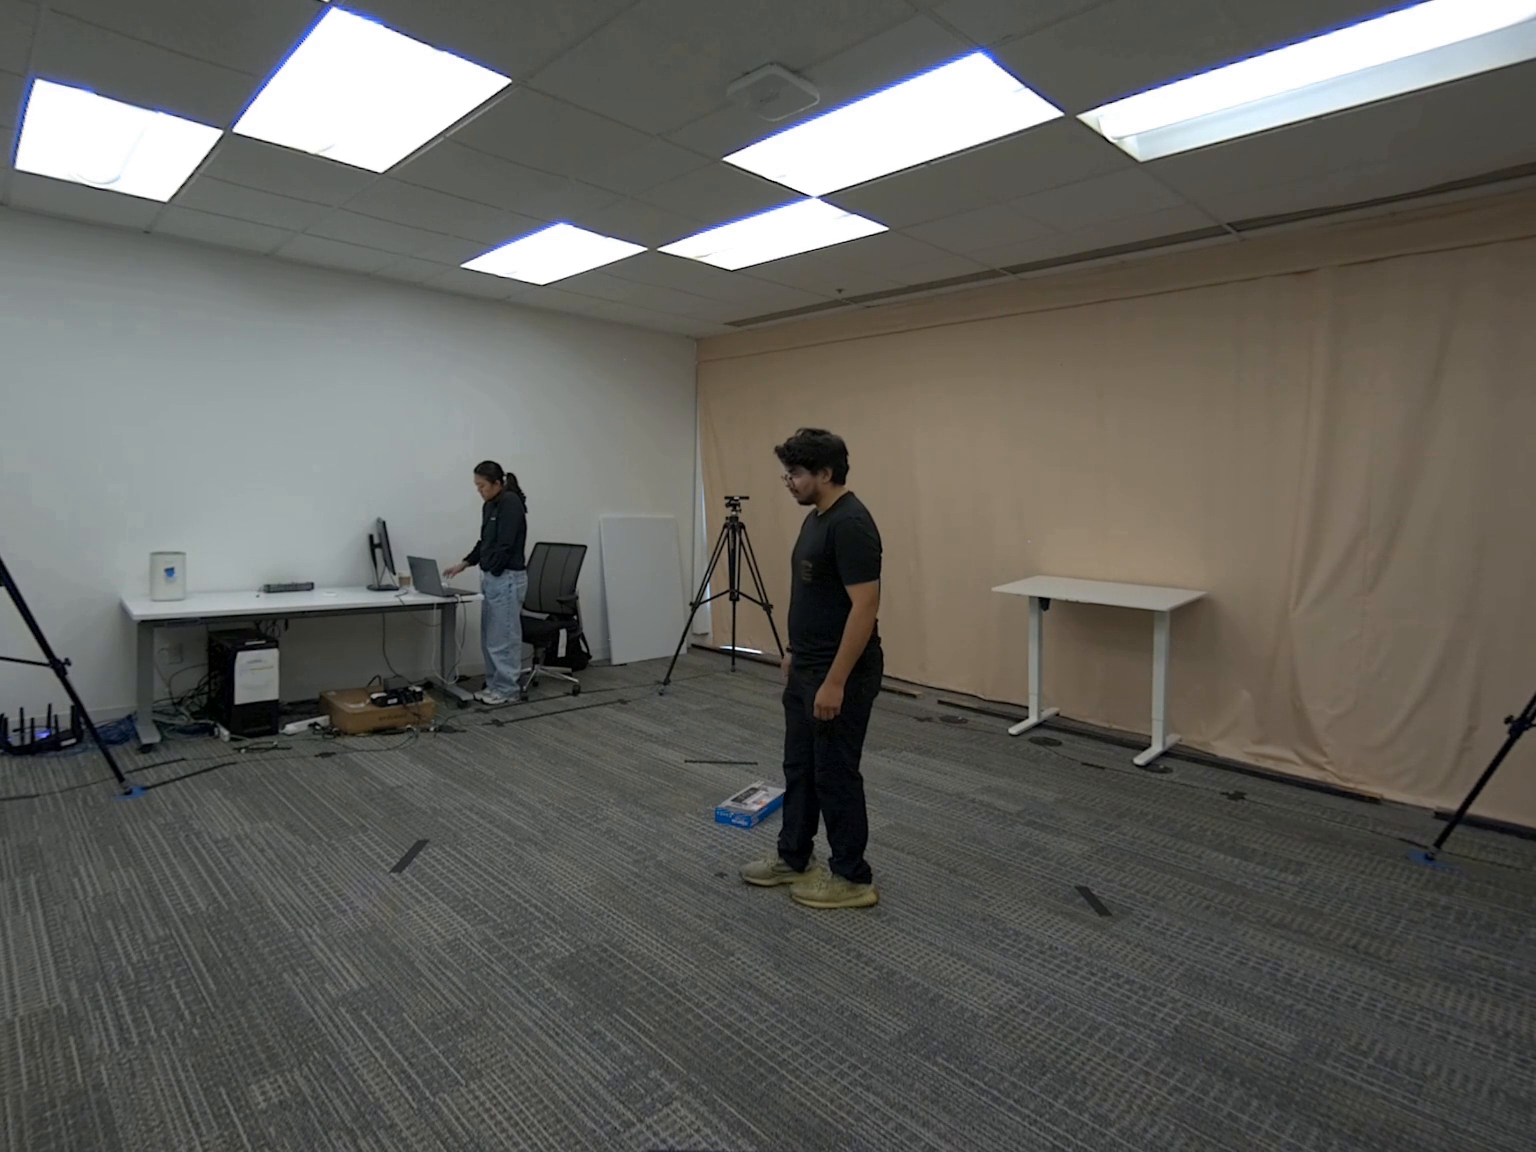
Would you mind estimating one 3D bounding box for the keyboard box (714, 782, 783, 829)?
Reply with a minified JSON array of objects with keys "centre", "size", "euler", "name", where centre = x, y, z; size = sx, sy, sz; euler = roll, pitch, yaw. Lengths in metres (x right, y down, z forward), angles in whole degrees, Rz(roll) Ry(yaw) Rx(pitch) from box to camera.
[{"centre":[-0.068,1.017,3.776],"size":[0.179,0.059,0.429],"euler":[5,6,26],"name":"keyboard box"}]
